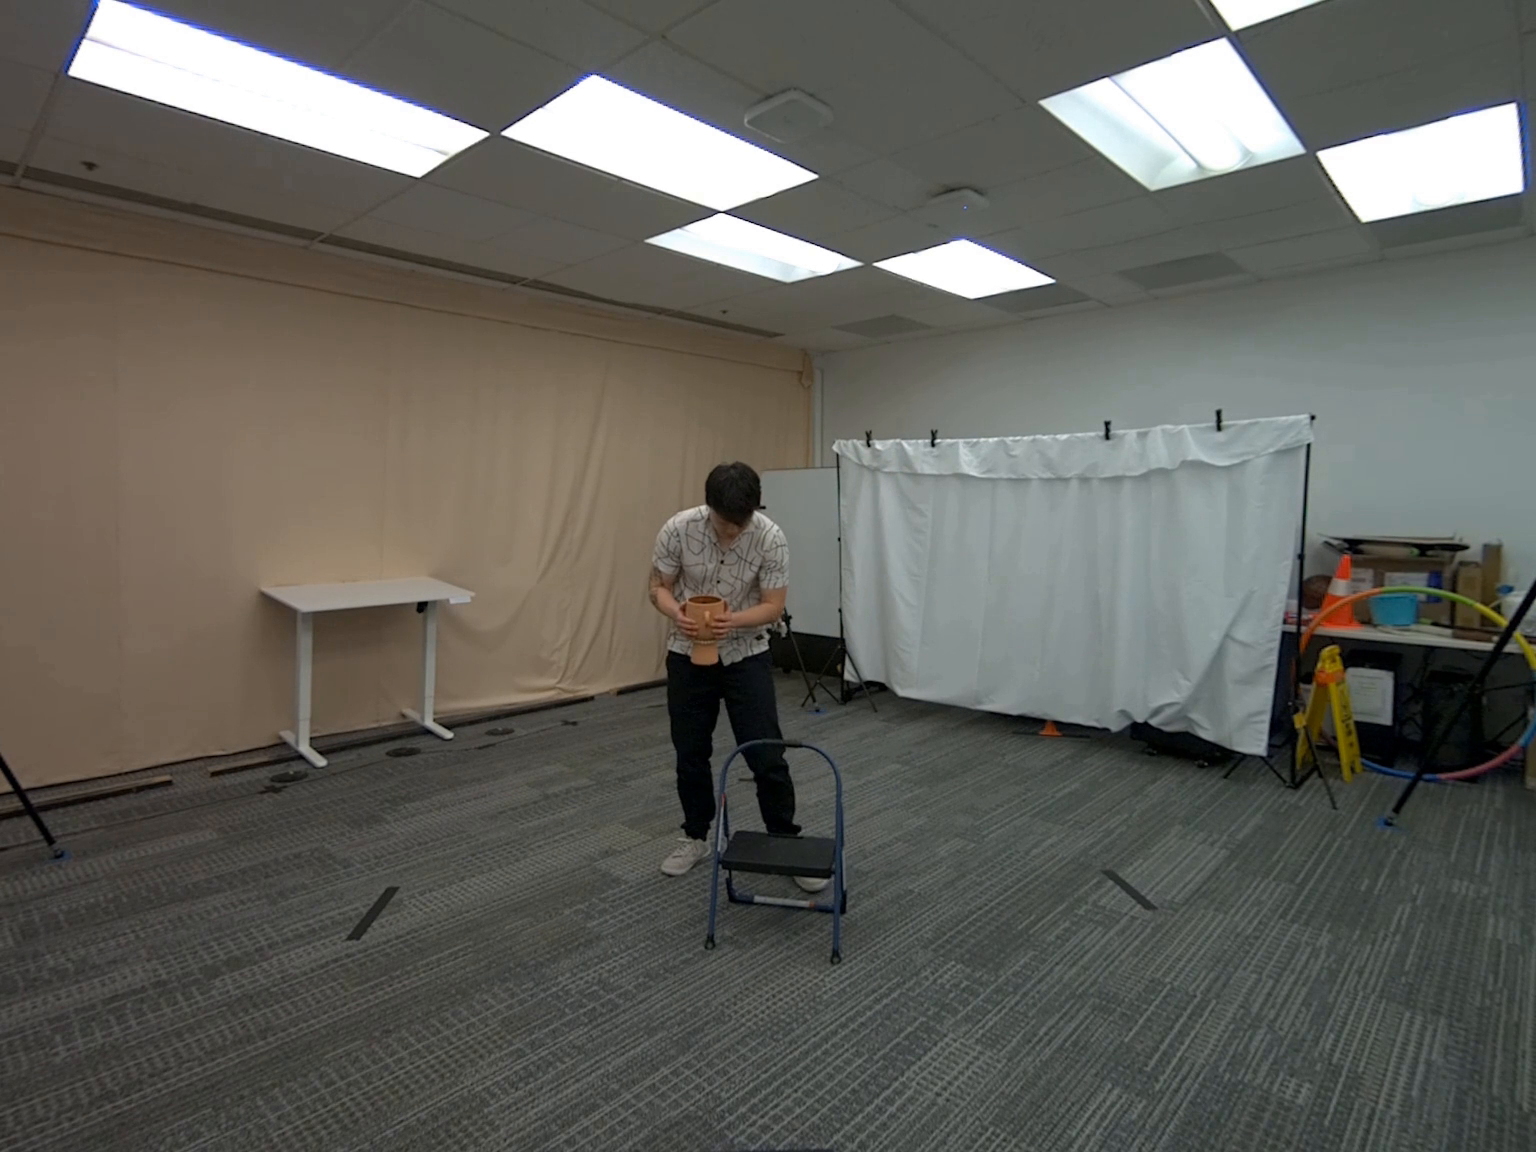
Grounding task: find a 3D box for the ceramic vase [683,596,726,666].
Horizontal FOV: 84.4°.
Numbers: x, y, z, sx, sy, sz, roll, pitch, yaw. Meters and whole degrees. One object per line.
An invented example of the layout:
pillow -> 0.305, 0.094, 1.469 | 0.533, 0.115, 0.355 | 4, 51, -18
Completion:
ceramic vase -> -0.212, 0.190, 2.925 | 0.139, 0.218, 0.155 | 8, 13, 30
